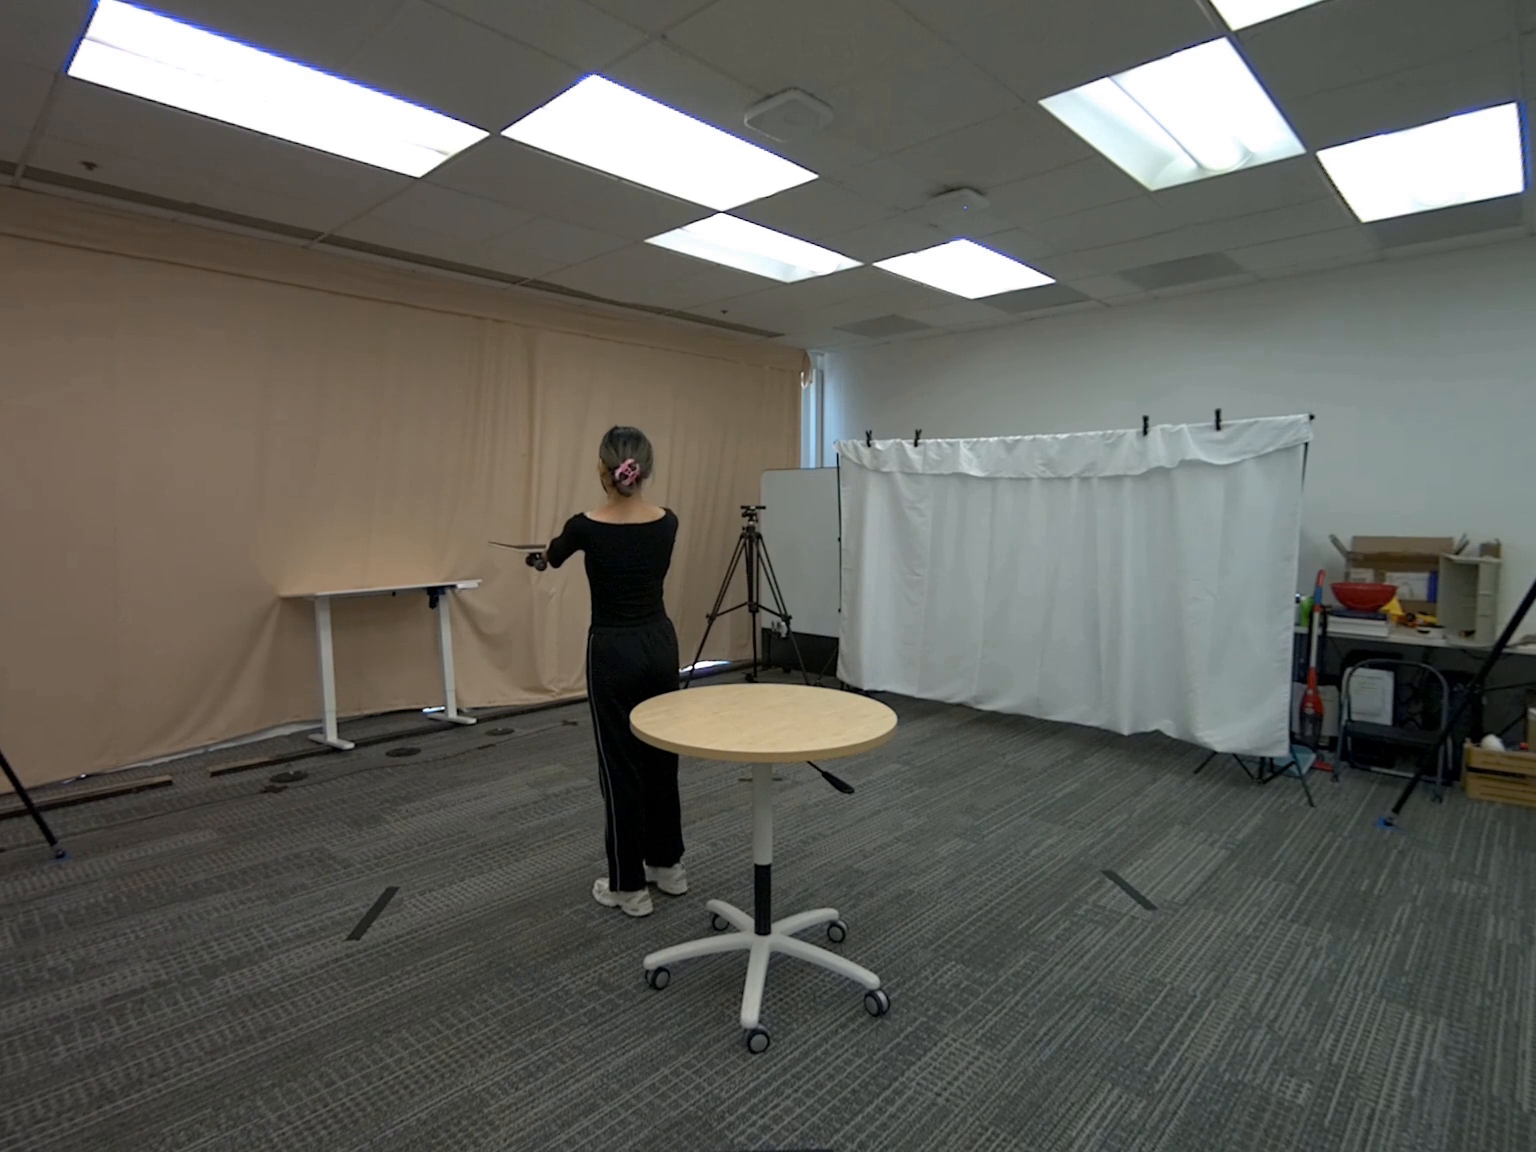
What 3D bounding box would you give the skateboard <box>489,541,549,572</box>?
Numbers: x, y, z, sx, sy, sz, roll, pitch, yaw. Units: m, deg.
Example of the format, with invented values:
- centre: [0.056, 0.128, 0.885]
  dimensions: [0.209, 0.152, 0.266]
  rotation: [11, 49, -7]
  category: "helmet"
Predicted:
- centre: [-0.766, -0.090, 3.462]
  dimensions: [0.765, 0.110, 0.199]
  rotation: [-2, 6, -28]
  category: "skateboard"
